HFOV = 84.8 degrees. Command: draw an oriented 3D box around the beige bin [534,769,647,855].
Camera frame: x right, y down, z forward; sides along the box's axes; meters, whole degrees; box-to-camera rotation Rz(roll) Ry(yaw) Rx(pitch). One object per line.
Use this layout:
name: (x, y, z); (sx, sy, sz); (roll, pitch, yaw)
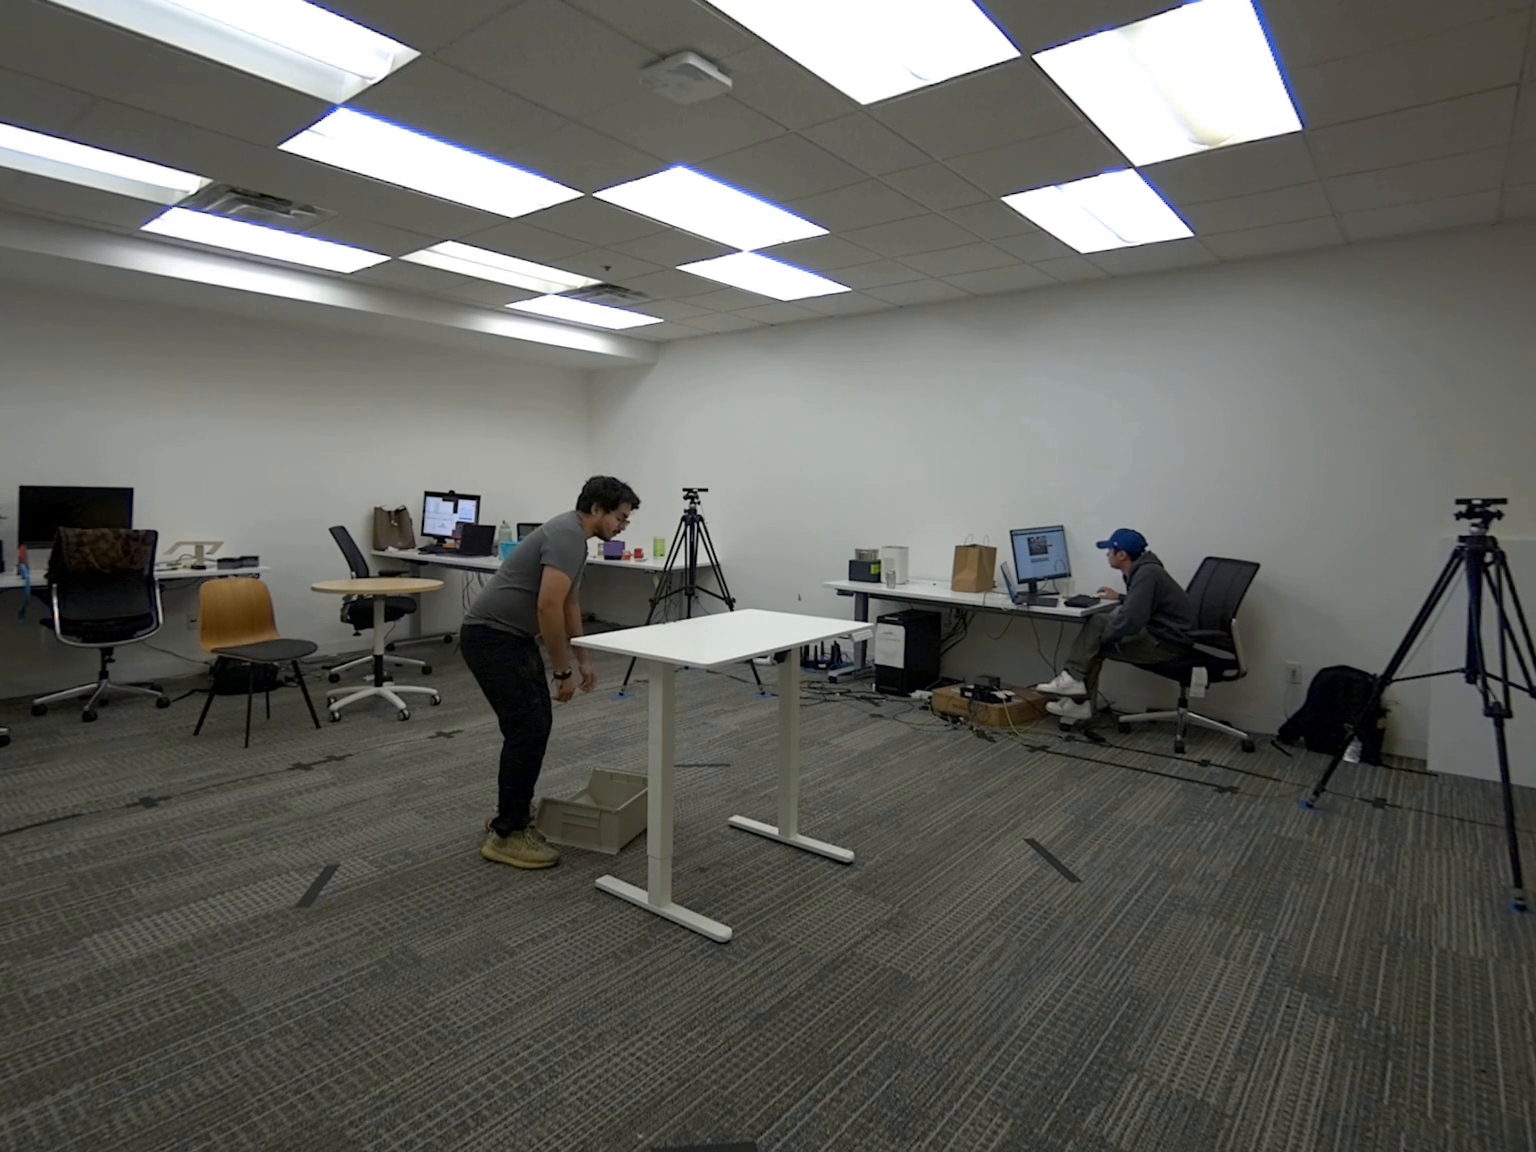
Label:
beige bin: (-0.688, 0.943, 3.463); (0.386, 0.188, 0.415); (3, 5, 19)
